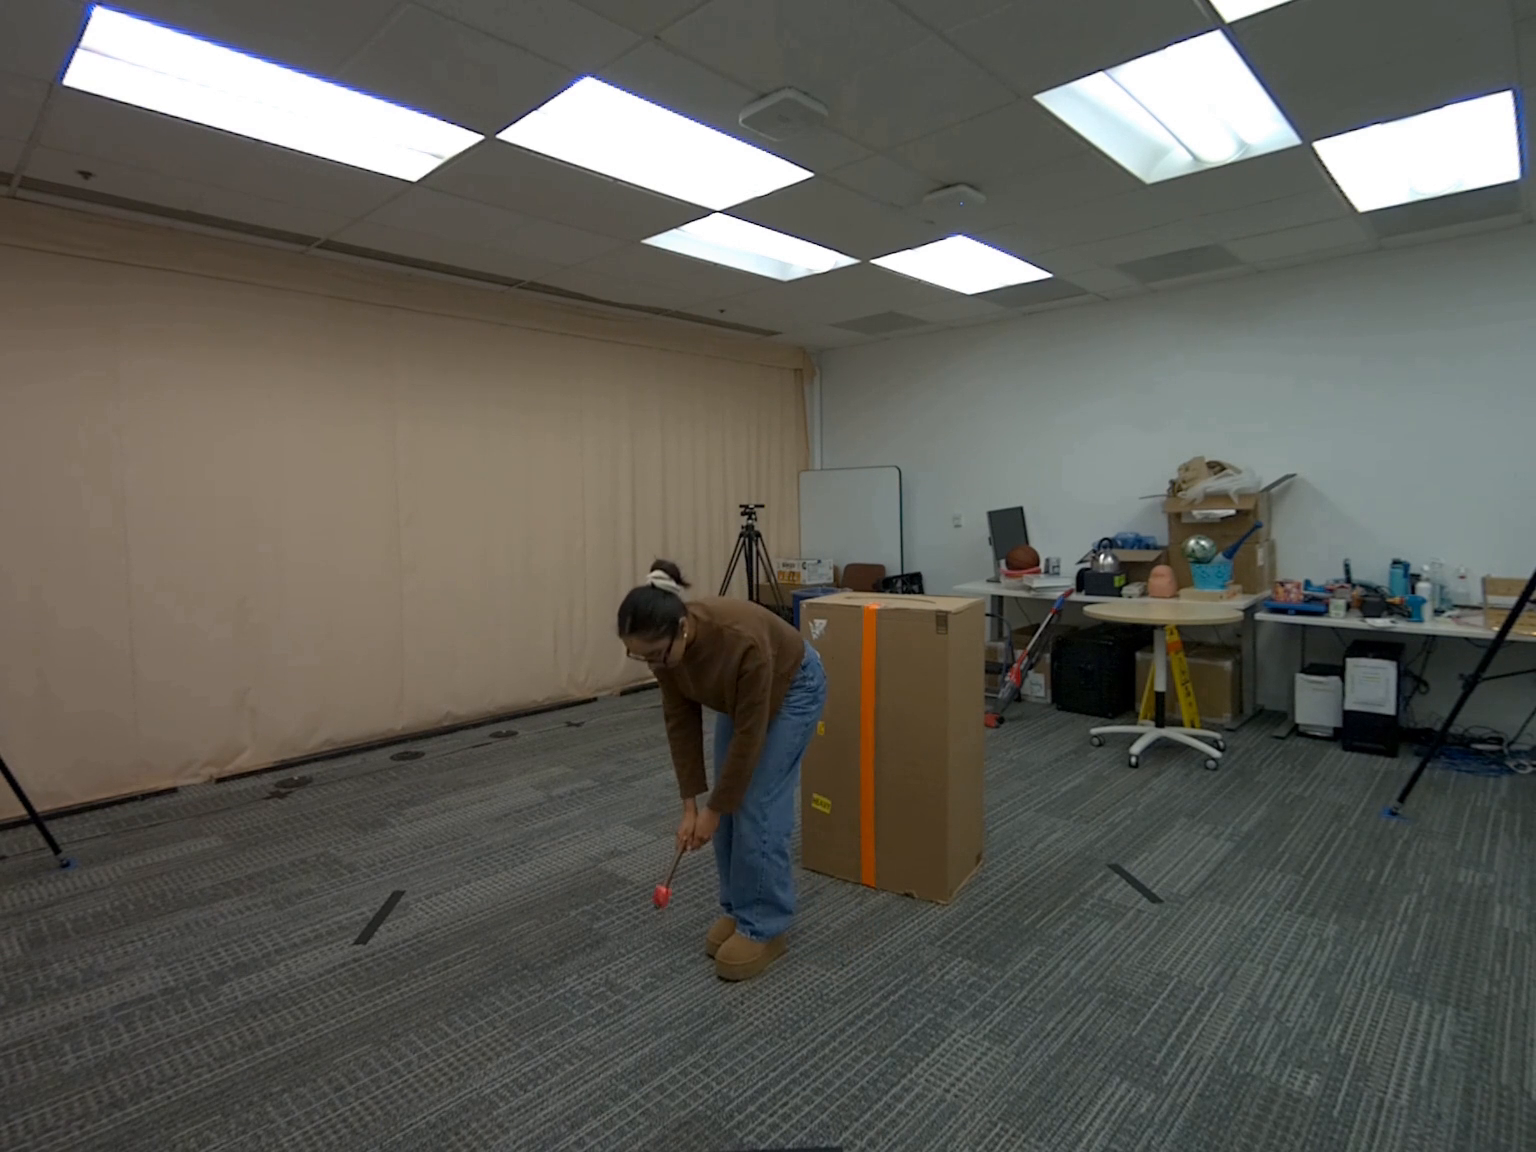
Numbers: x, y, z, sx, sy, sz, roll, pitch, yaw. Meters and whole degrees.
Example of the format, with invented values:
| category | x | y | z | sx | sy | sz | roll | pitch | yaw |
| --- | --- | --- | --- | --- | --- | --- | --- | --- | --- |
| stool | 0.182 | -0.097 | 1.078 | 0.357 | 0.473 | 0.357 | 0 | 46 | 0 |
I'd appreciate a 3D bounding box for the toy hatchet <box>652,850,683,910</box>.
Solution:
| category | x | y | z | sx | sy | sz | roll | pitch | yaw |
| --- | --- | --- | --- | --- | --- | --- | --- | --- | --- |
| toy hatchet | -0.264 | 0.845 | 2.422 | 0.030 | 0.129 | 0.267 | 17 | 34 | 19 |
